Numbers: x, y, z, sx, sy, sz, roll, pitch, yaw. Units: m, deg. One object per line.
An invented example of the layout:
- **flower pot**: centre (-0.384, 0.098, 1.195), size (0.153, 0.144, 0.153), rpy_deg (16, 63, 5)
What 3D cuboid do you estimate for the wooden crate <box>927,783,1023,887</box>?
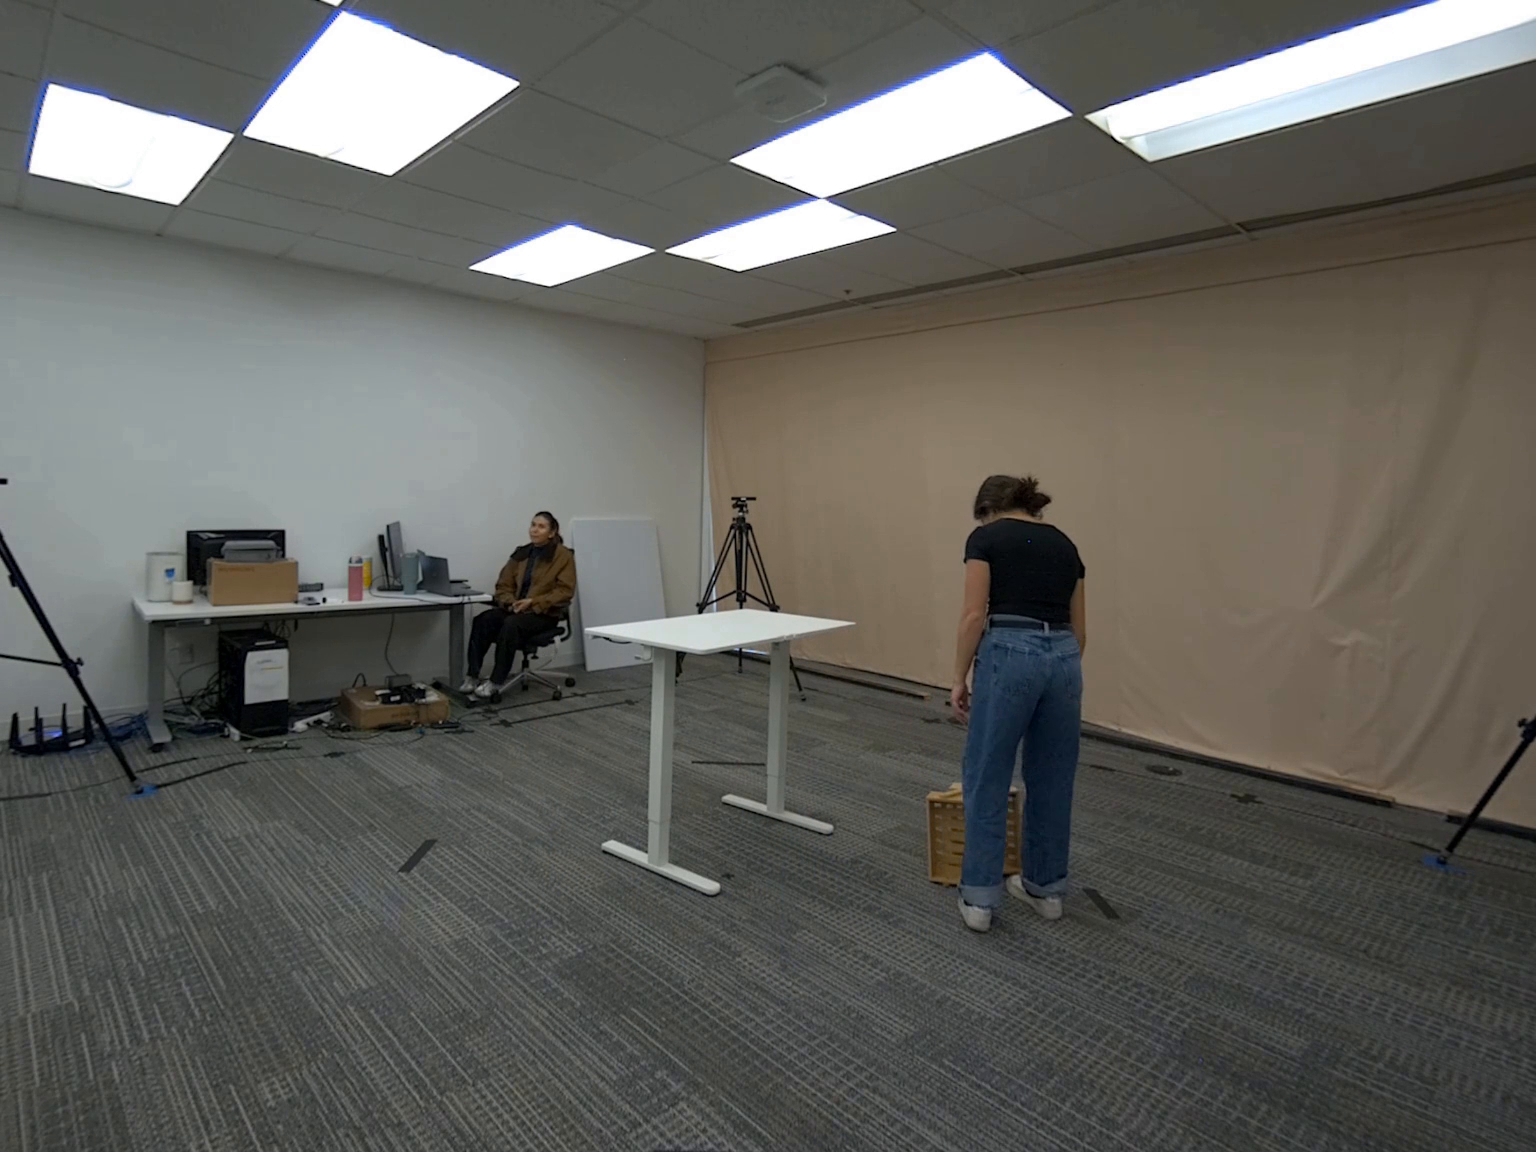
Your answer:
- **wooden crate**: centre (0.771, 0.966, 3.145), size (0.307, 0.325, 0.268), rpy_deg (-3, -2, 24)
